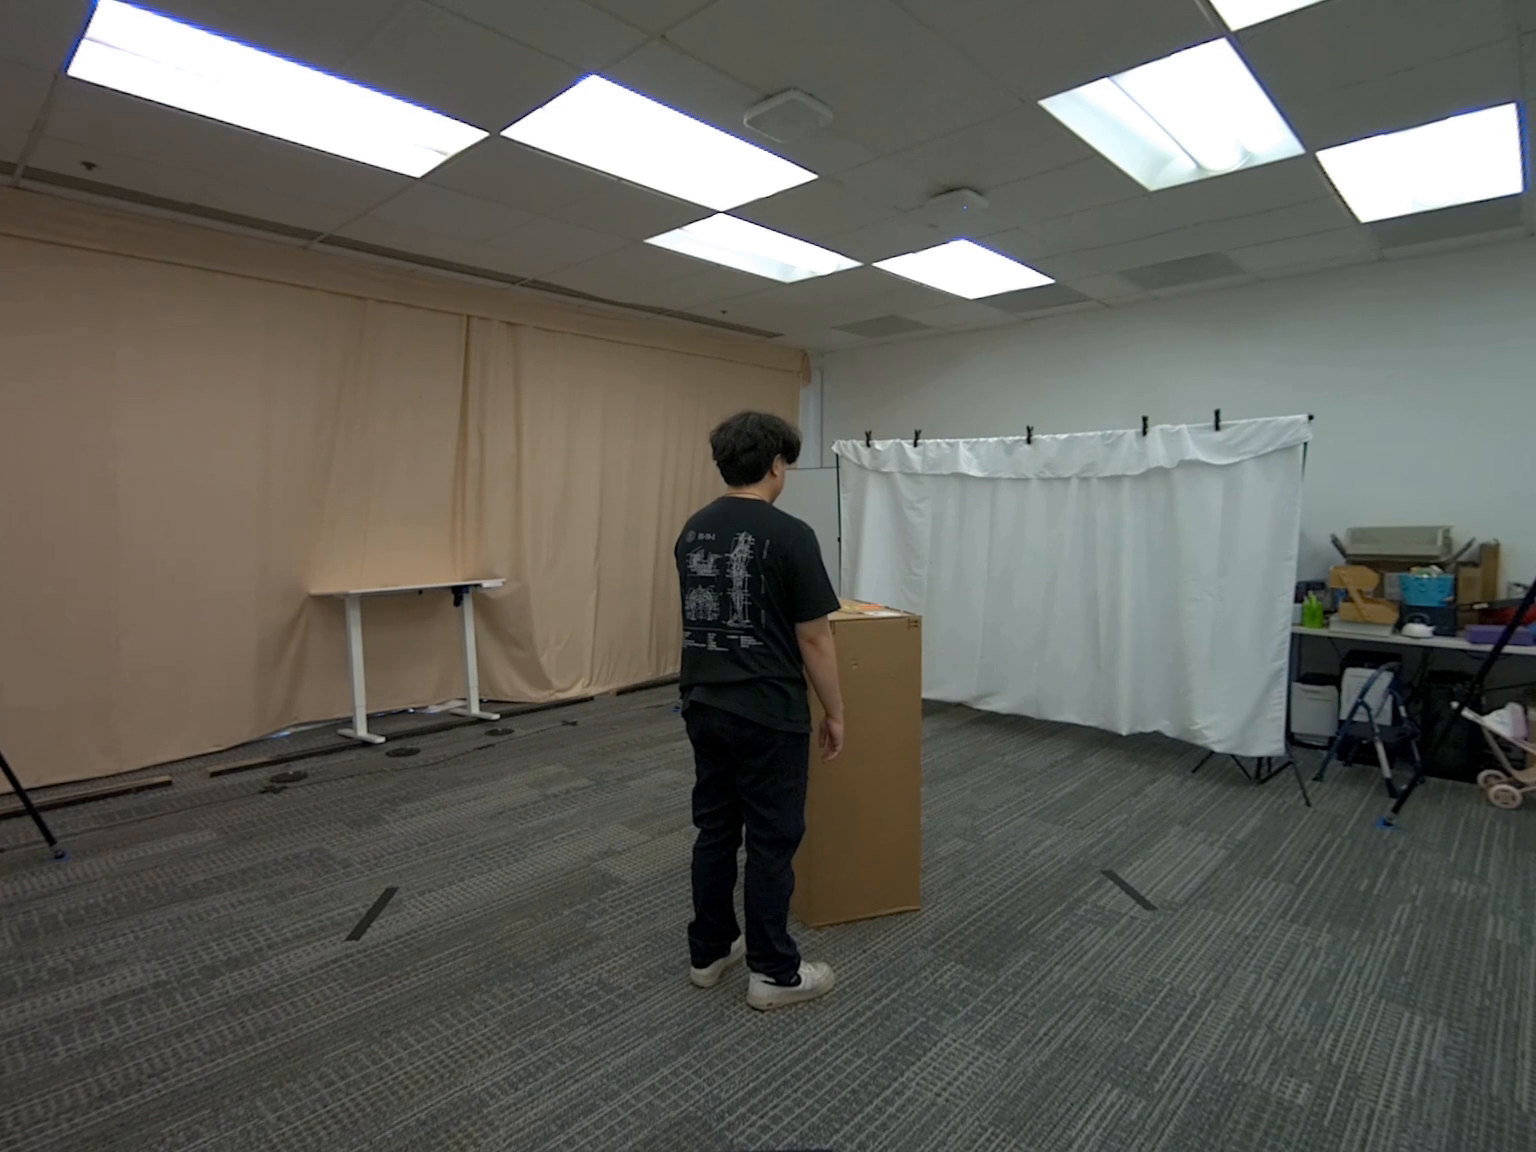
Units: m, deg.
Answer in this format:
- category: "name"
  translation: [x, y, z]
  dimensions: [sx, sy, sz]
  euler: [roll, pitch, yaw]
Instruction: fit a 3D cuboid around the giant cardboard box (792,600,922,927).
- category: "giant cardboard box"
  translation: [0.229, 0.623, 3.079]
  dimensions: [0.438, 1.025, 0.597]
  euler: [-1, 3, -21]
